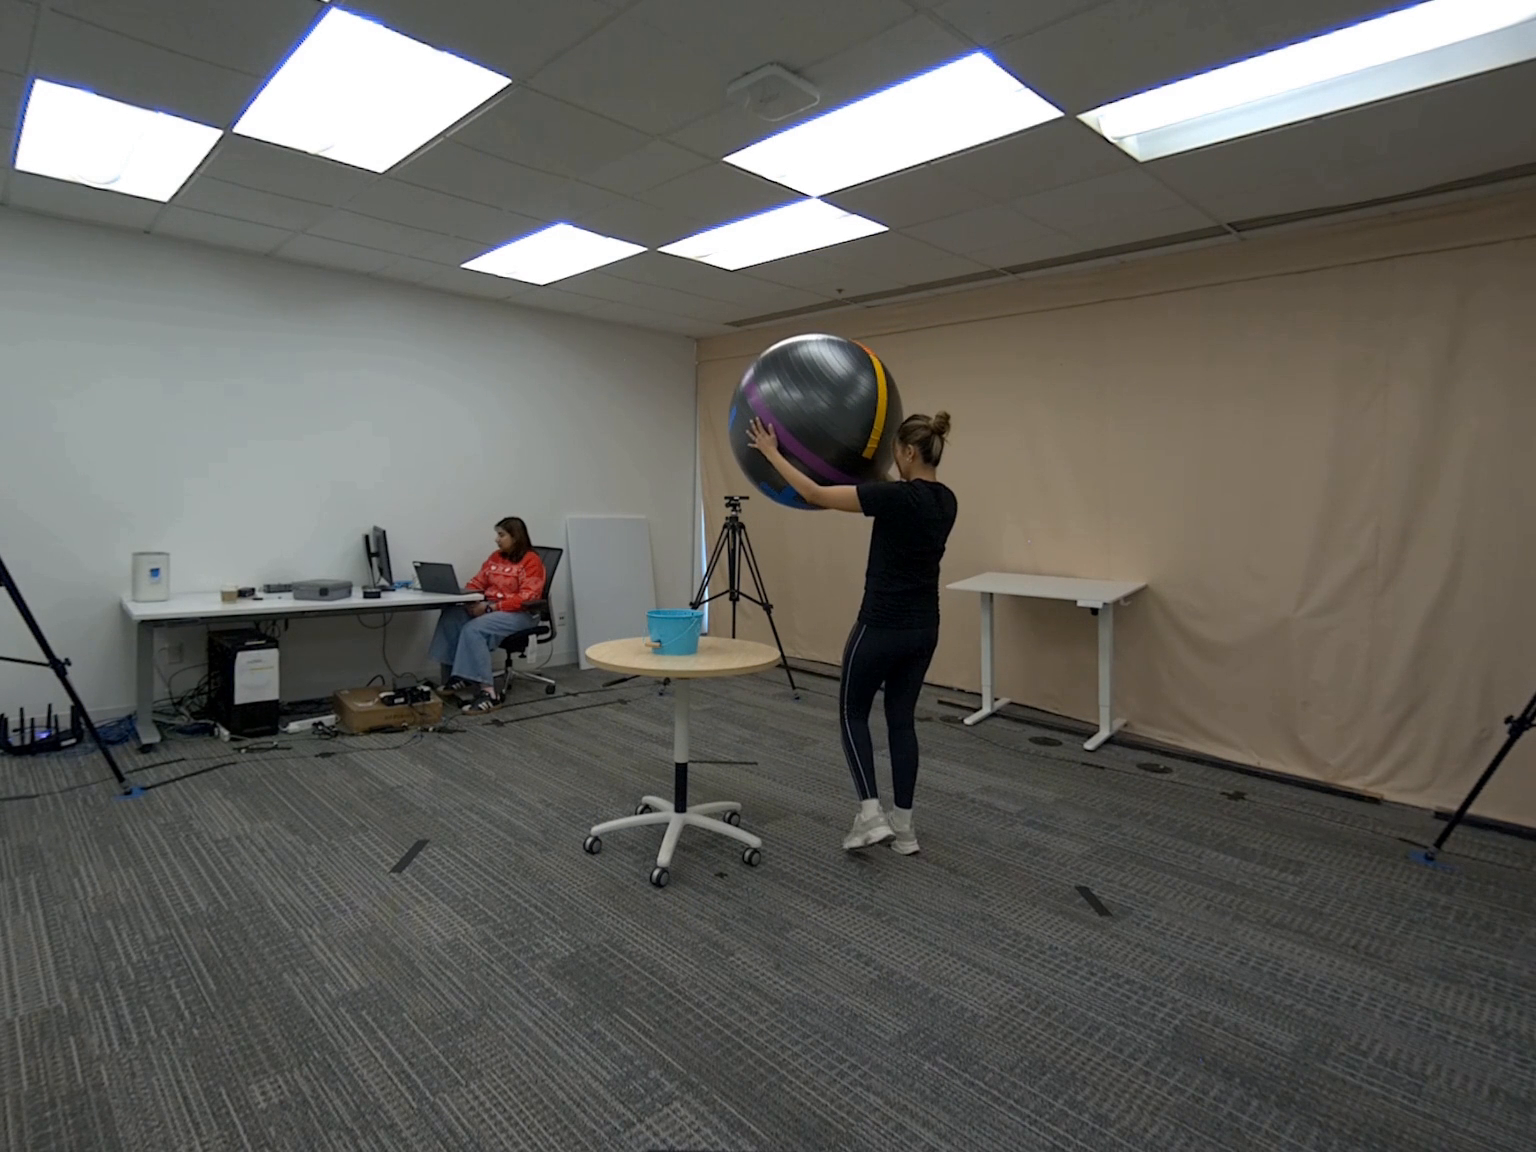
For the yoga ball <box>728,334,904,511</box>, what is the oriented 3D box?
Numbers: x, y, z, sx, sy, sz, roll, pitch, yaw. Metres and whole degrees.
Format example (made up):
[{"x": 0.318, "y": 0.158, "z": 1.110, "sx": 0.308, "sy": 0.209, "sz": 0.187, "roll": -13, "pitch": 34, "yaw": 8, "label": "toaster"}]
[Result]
[{"x": 0.197, "y": -0.660, "z": 3.655, "sx": 0.757, "sy": 0.756, "sz": 0.761, "roll": 1, "pitch": 4, "yaw": -1, "label": "yoga ball"}]
